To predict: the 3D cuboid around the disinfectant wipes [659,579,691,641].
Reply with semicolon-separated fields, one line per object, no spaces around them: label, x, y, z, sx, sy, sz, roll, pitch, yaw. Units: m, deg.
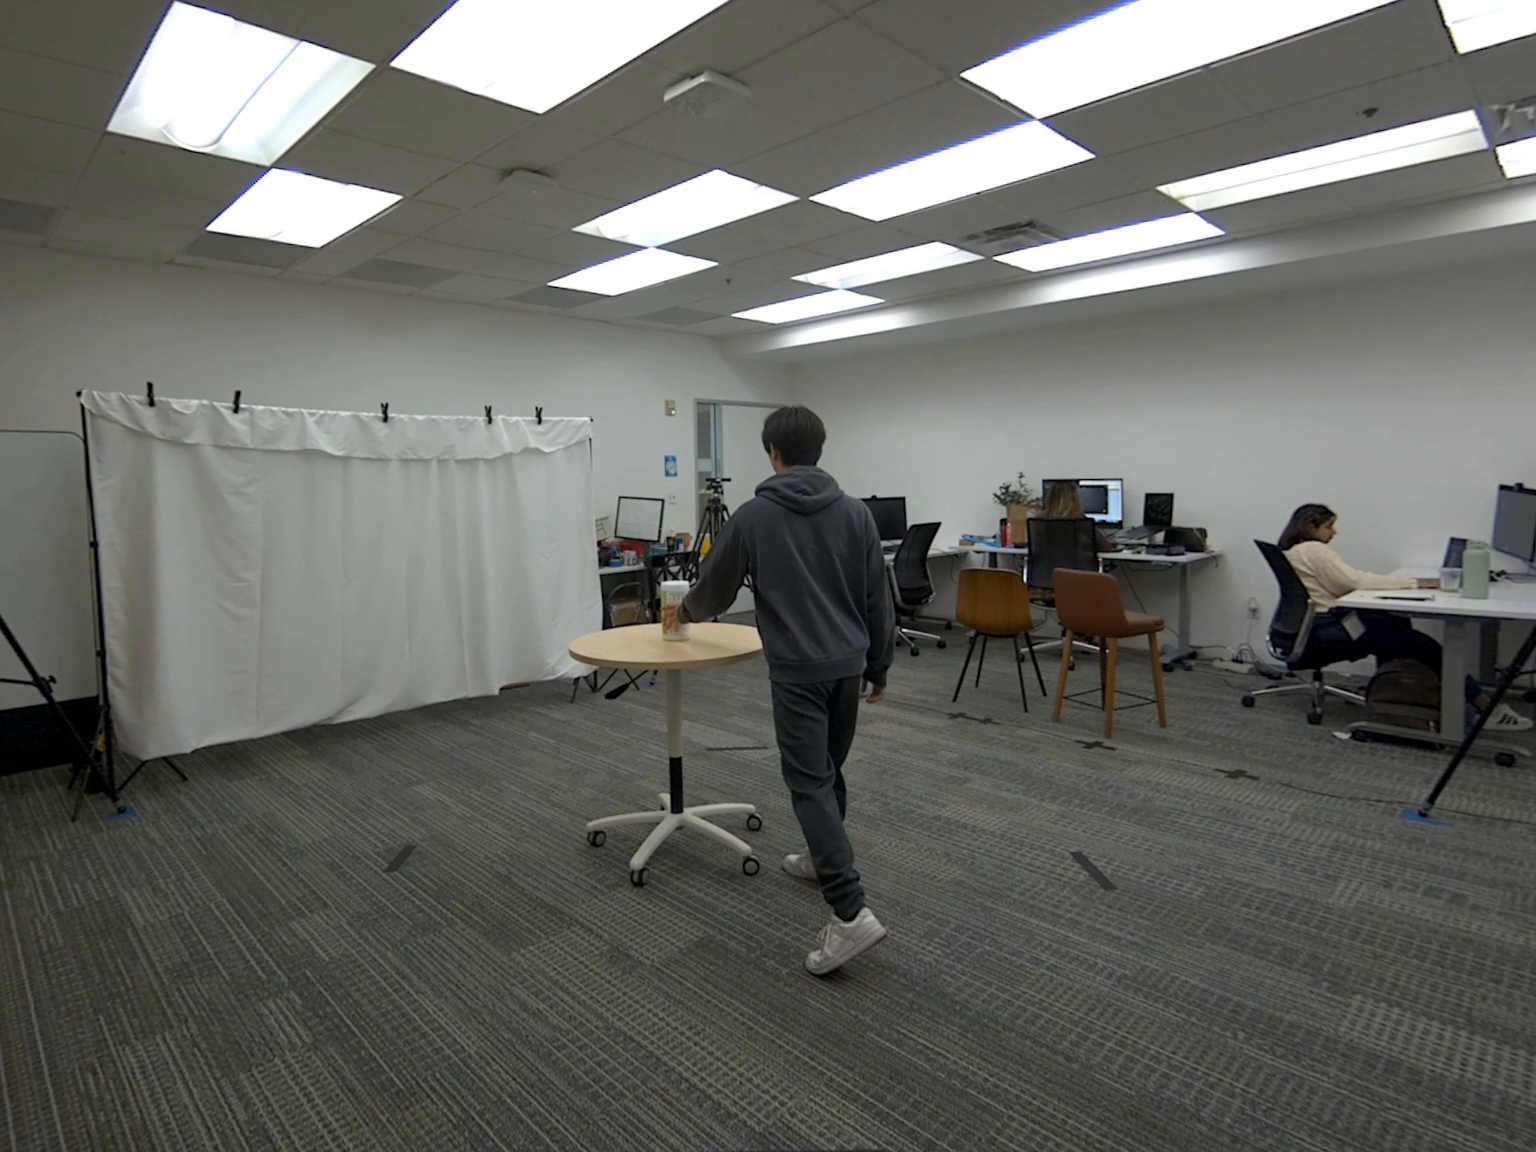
disinfectant wipes;-0.339;0.130;3.212;0.118;0.217;0.118;-2;4;-2
